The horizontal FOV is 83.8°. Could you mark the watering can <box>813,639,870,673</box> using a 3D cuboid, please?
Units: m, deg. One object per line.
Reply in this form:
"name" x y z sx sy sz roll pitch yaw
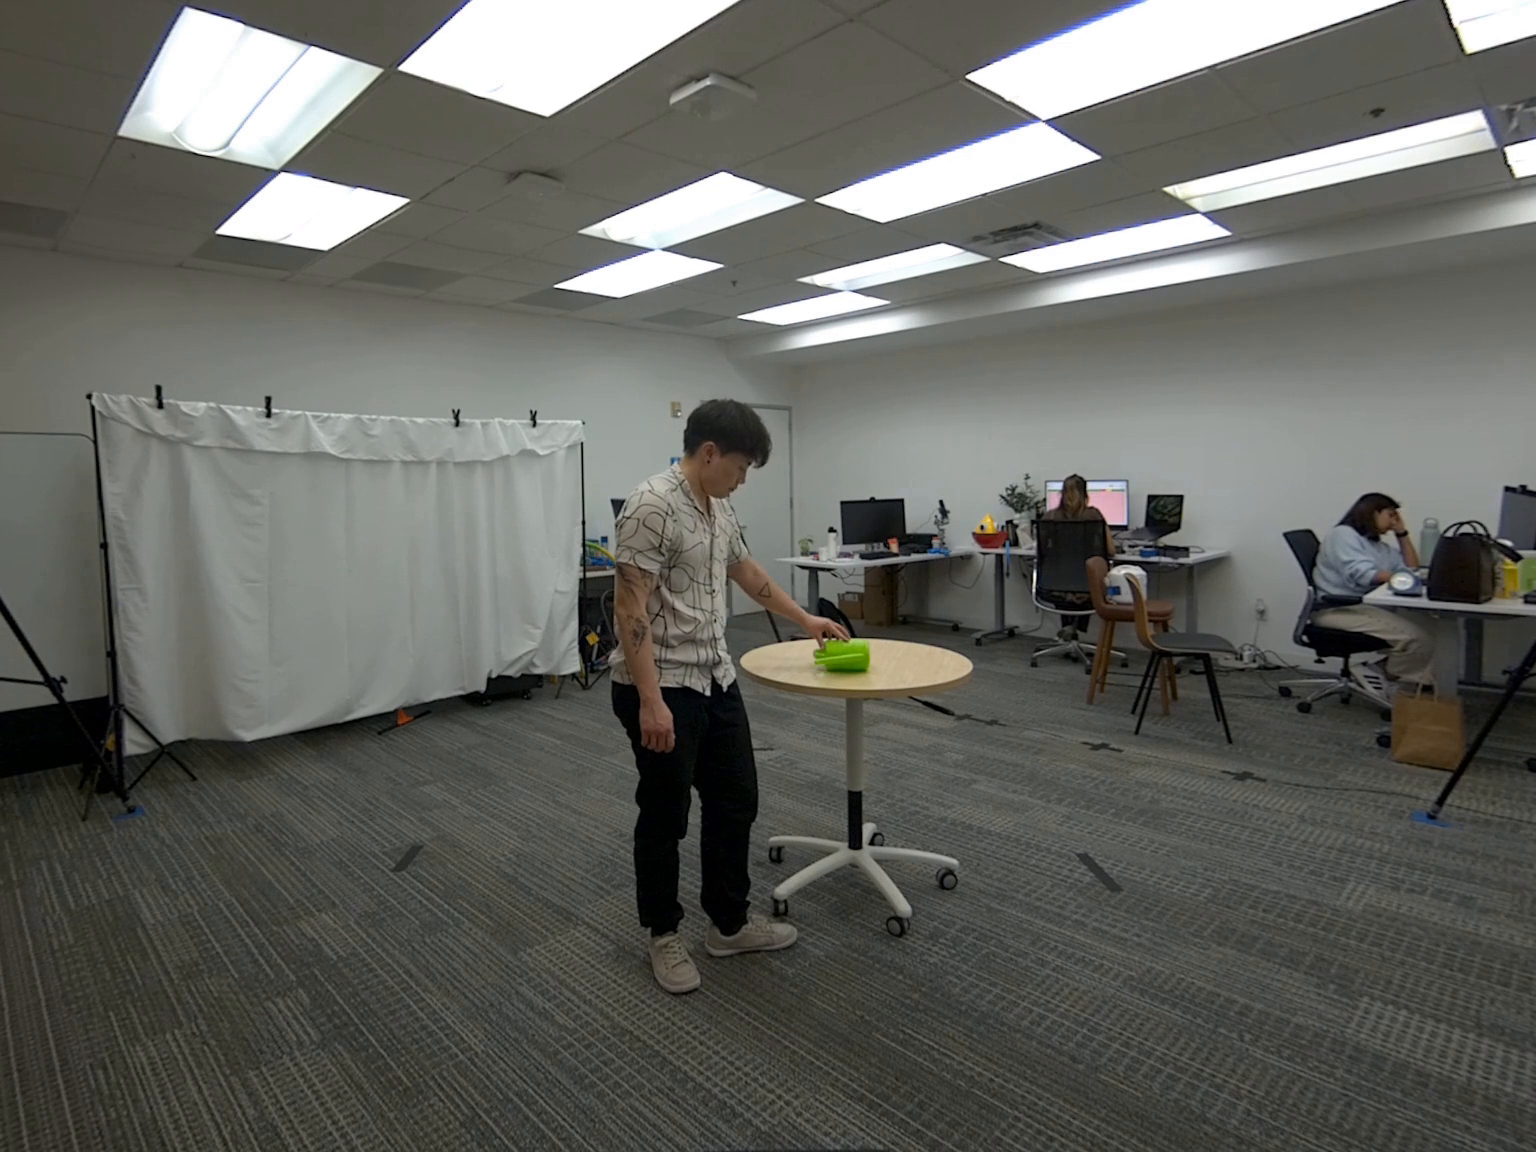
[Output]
"watering can" 0.235 0.269 2.691 0.177 0.097 0.281 -1 16 1
